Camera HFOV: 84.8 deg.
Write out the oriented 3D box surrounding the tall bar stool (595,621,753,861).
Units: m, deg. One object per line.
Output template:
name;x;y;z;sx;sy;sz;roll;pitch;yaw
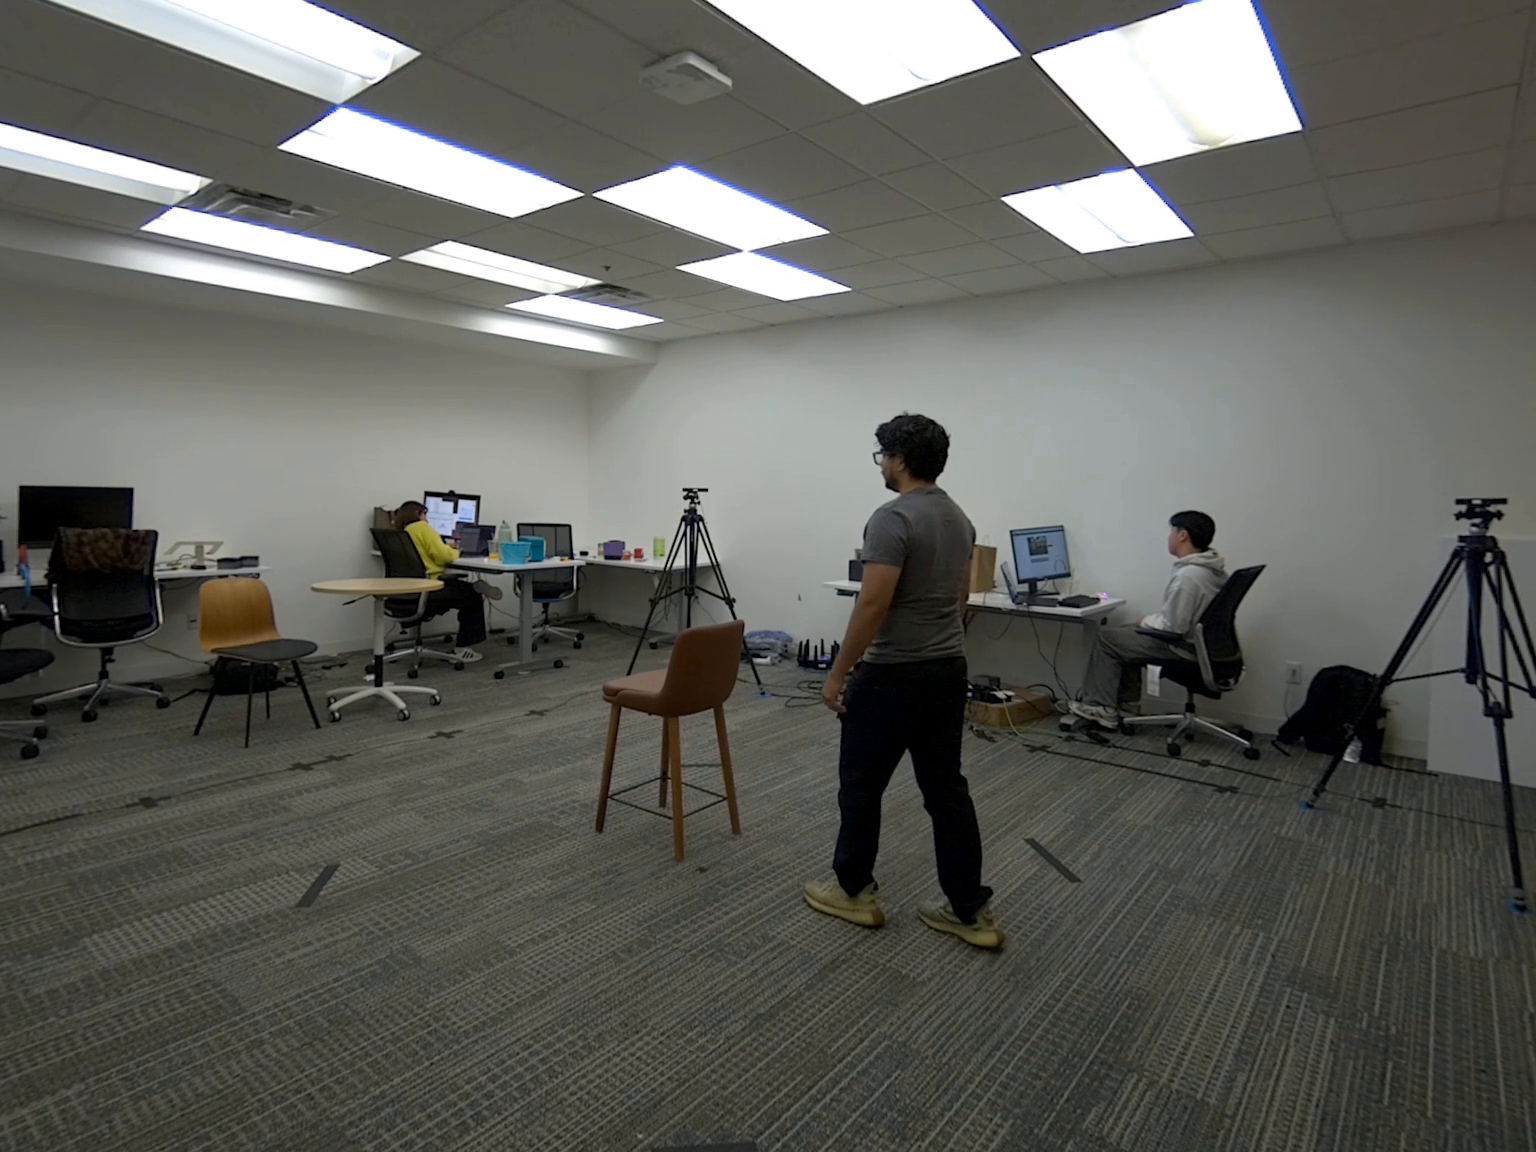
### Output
tall bar stool;-0.398;0.600;3.428;0.483;0.887;0.443;6;5;38
